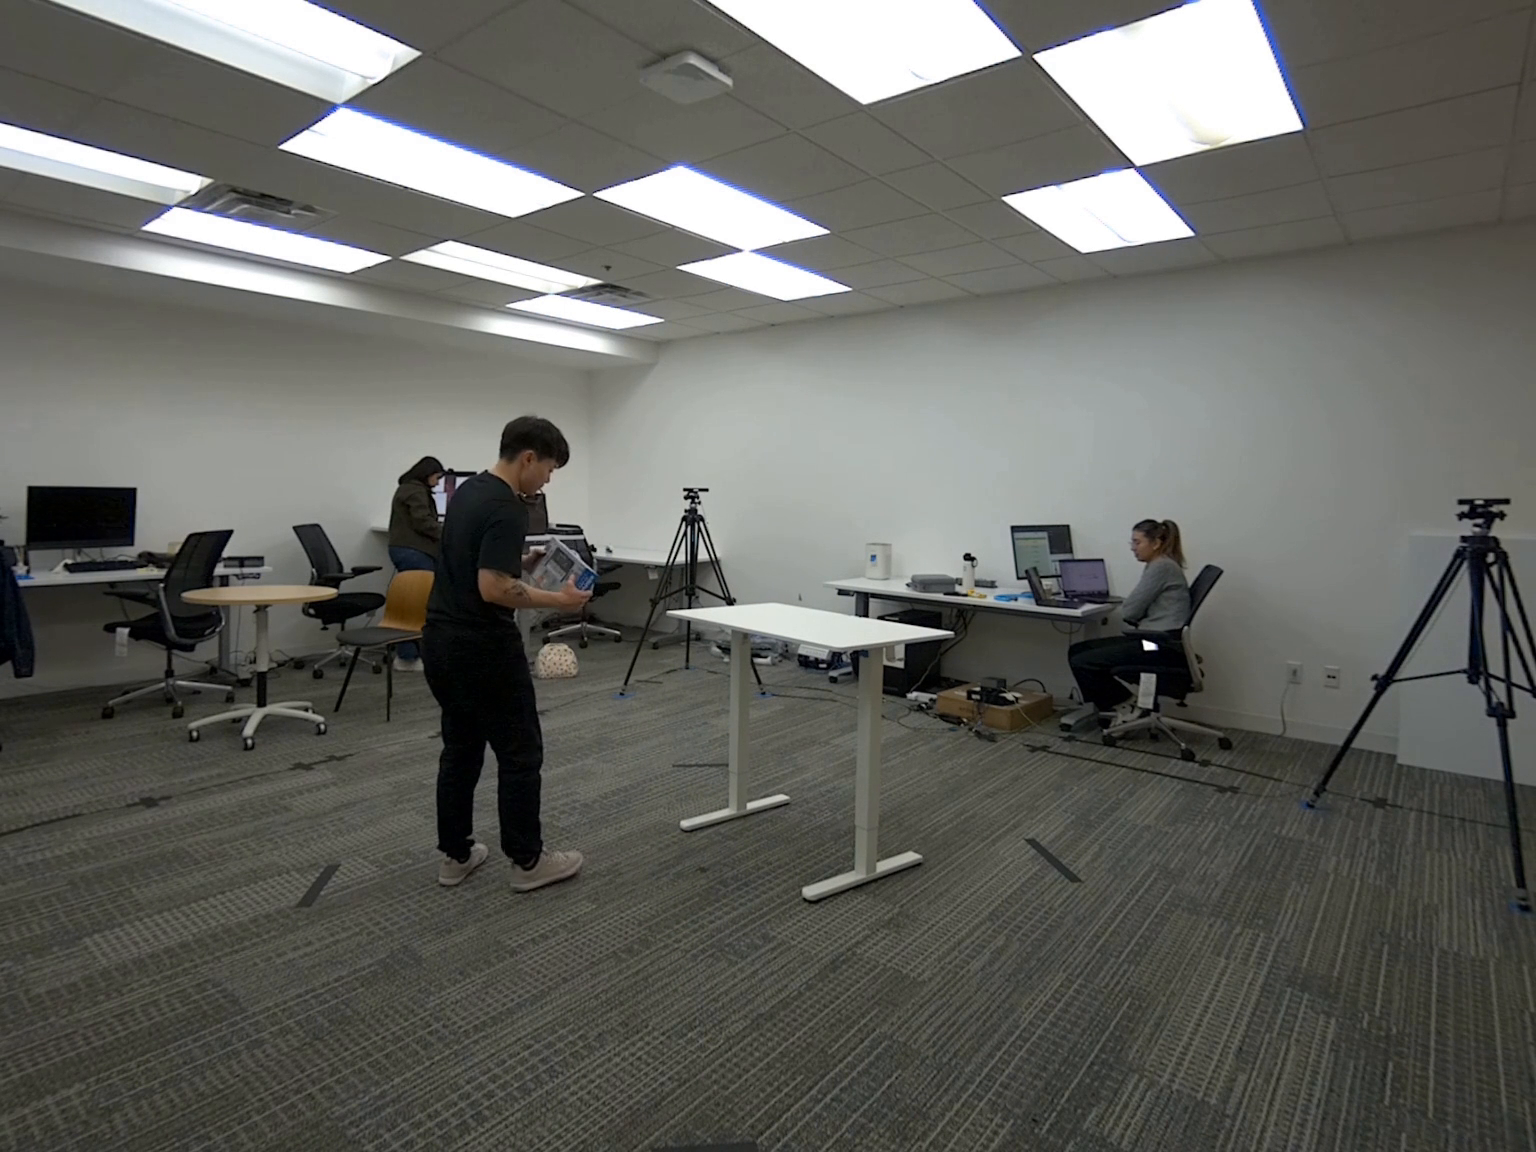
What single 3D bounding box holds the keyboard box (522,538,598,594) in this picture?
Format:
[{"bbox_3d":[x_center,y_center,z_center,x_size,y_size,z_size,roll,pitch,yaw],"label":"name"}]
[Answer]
[{"bbox_3d":[-0.769,-0.007,3.095,0.057,0.176,0.453,37,-3,-33],"label":"keyboard box"}]
